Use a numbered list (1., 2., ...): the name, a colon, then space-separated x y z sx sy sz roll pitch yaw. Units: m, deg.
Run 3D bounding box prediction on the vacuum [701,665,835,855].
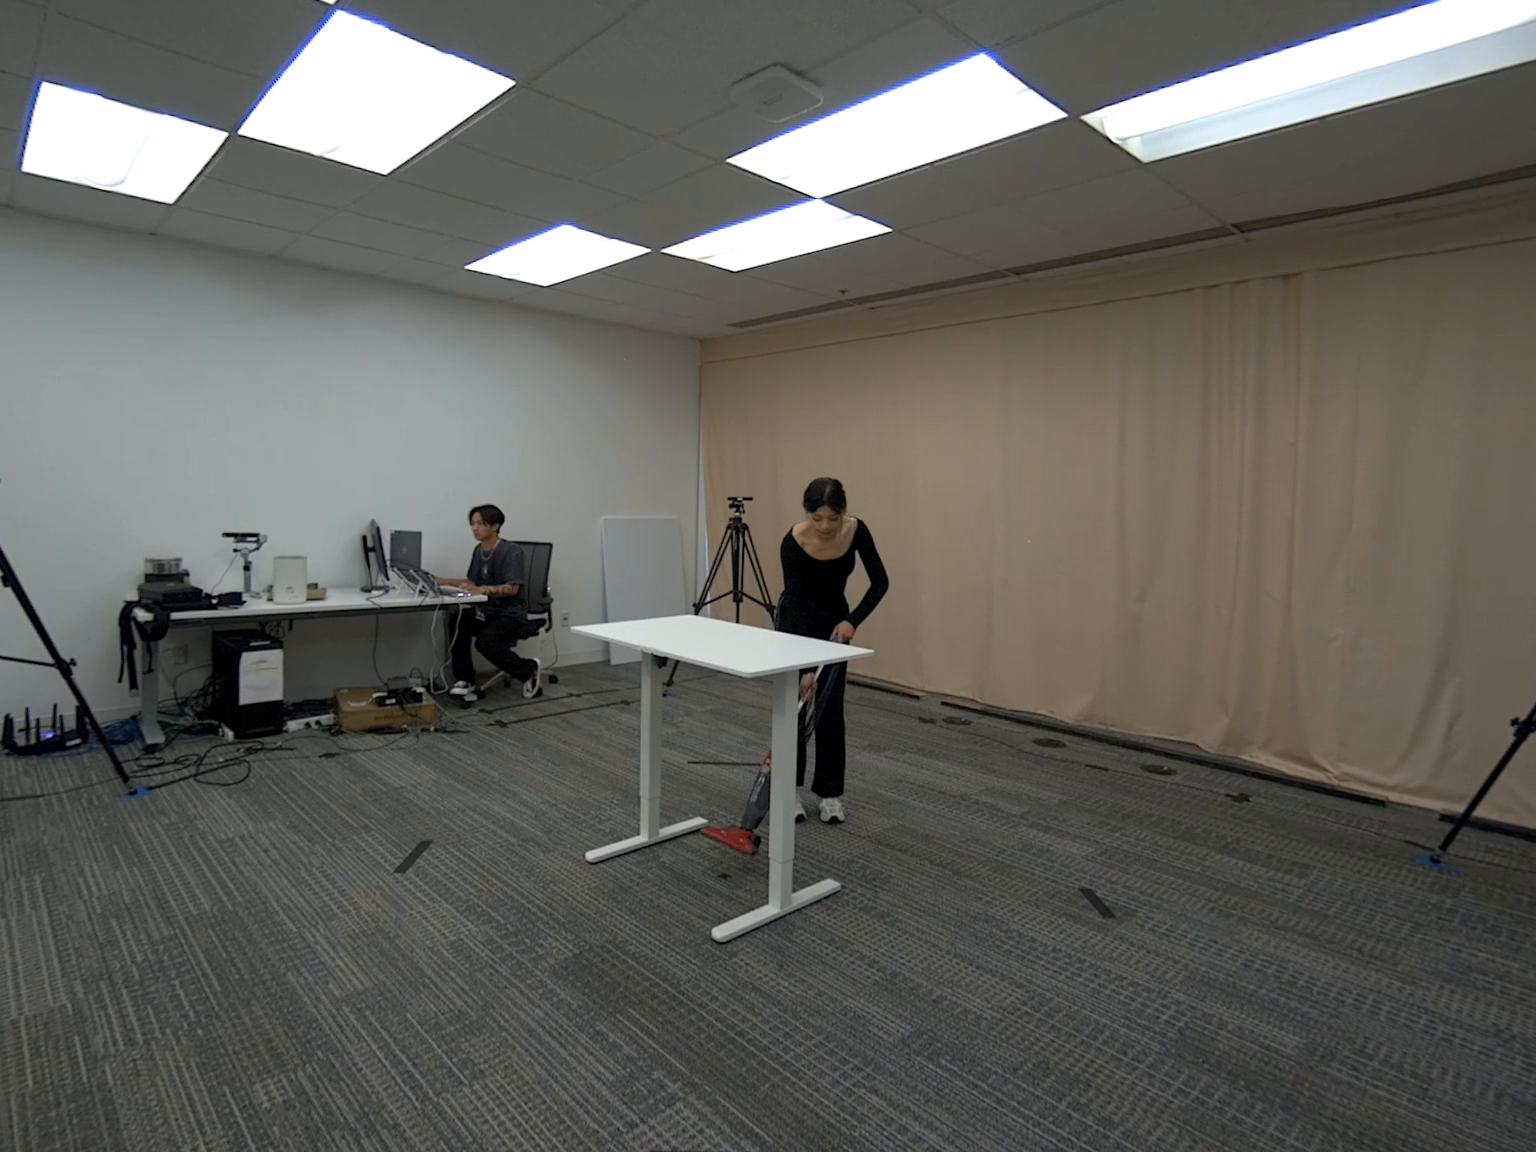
1. vacuum: 0.101 0.621 3.377 0.259 1.054 0.139 11 -35 34
